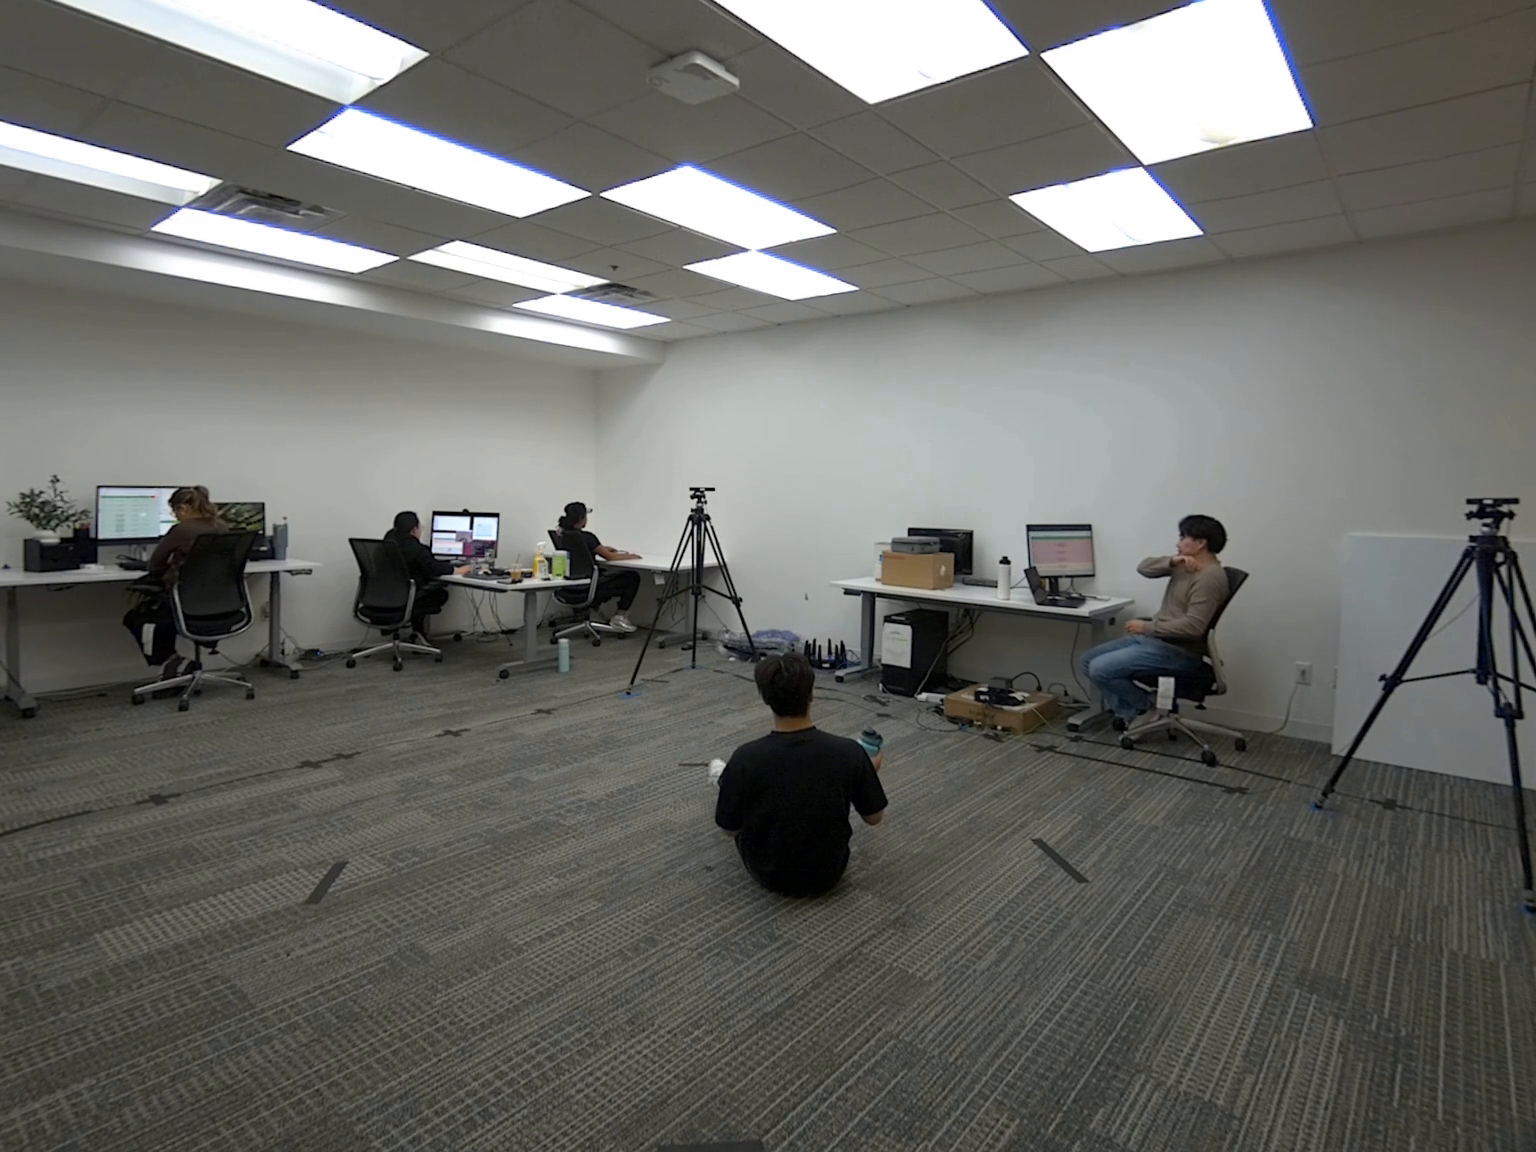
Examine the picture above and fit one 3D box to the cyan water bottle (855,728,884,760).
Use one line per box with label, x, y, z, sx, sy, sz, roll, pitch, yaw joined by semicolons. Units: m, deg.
cyan water bottle;0.365;0.728;3.339;0.092;0.283;0.093;18;2;-3
